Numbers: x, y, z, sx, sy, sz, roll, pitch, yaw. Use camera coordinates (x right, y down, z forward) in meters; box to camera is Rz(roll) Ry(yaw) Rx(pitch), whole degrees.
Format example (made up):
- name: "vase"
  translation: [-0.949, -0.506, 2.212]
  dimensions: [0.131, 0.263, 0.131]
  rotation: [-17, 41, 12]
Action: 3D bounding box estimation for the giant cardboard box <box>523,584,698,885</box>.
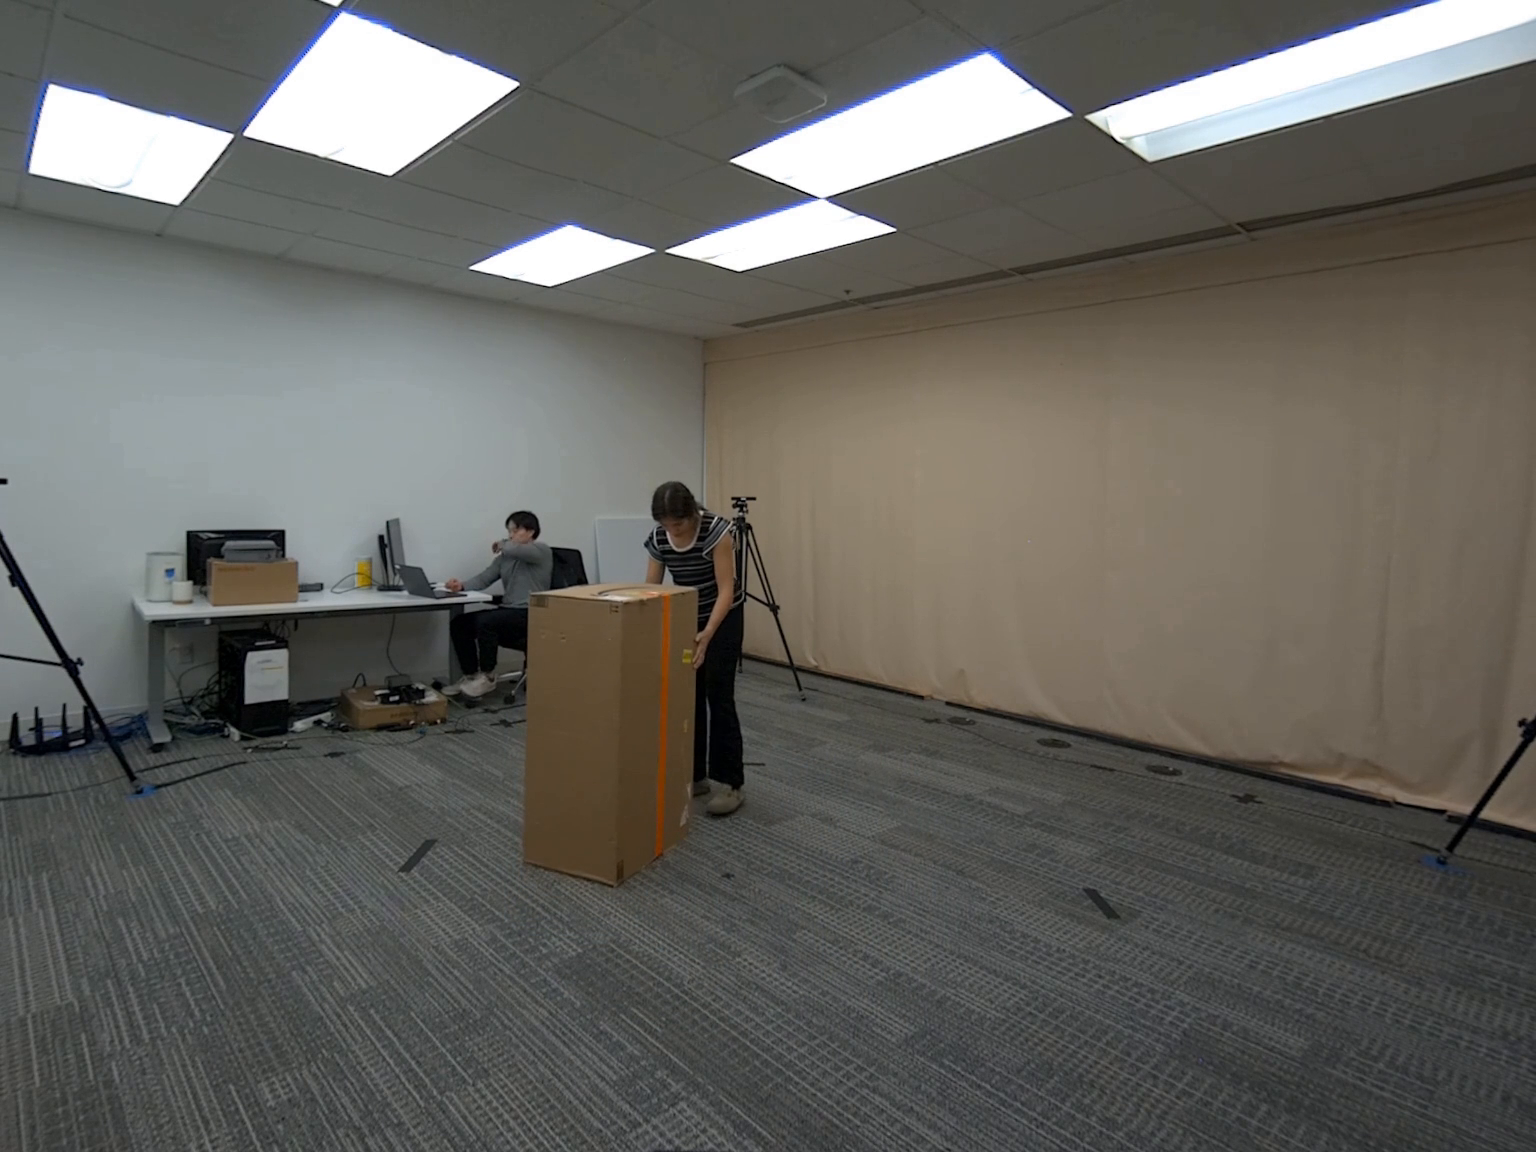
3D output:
- name: "giant cardboard box"
  translation: [-0.612, 0.568, 3.310]
  dimensions: [0.434, 1.024, 0.568]
  rotation: [3, 3, 24]
